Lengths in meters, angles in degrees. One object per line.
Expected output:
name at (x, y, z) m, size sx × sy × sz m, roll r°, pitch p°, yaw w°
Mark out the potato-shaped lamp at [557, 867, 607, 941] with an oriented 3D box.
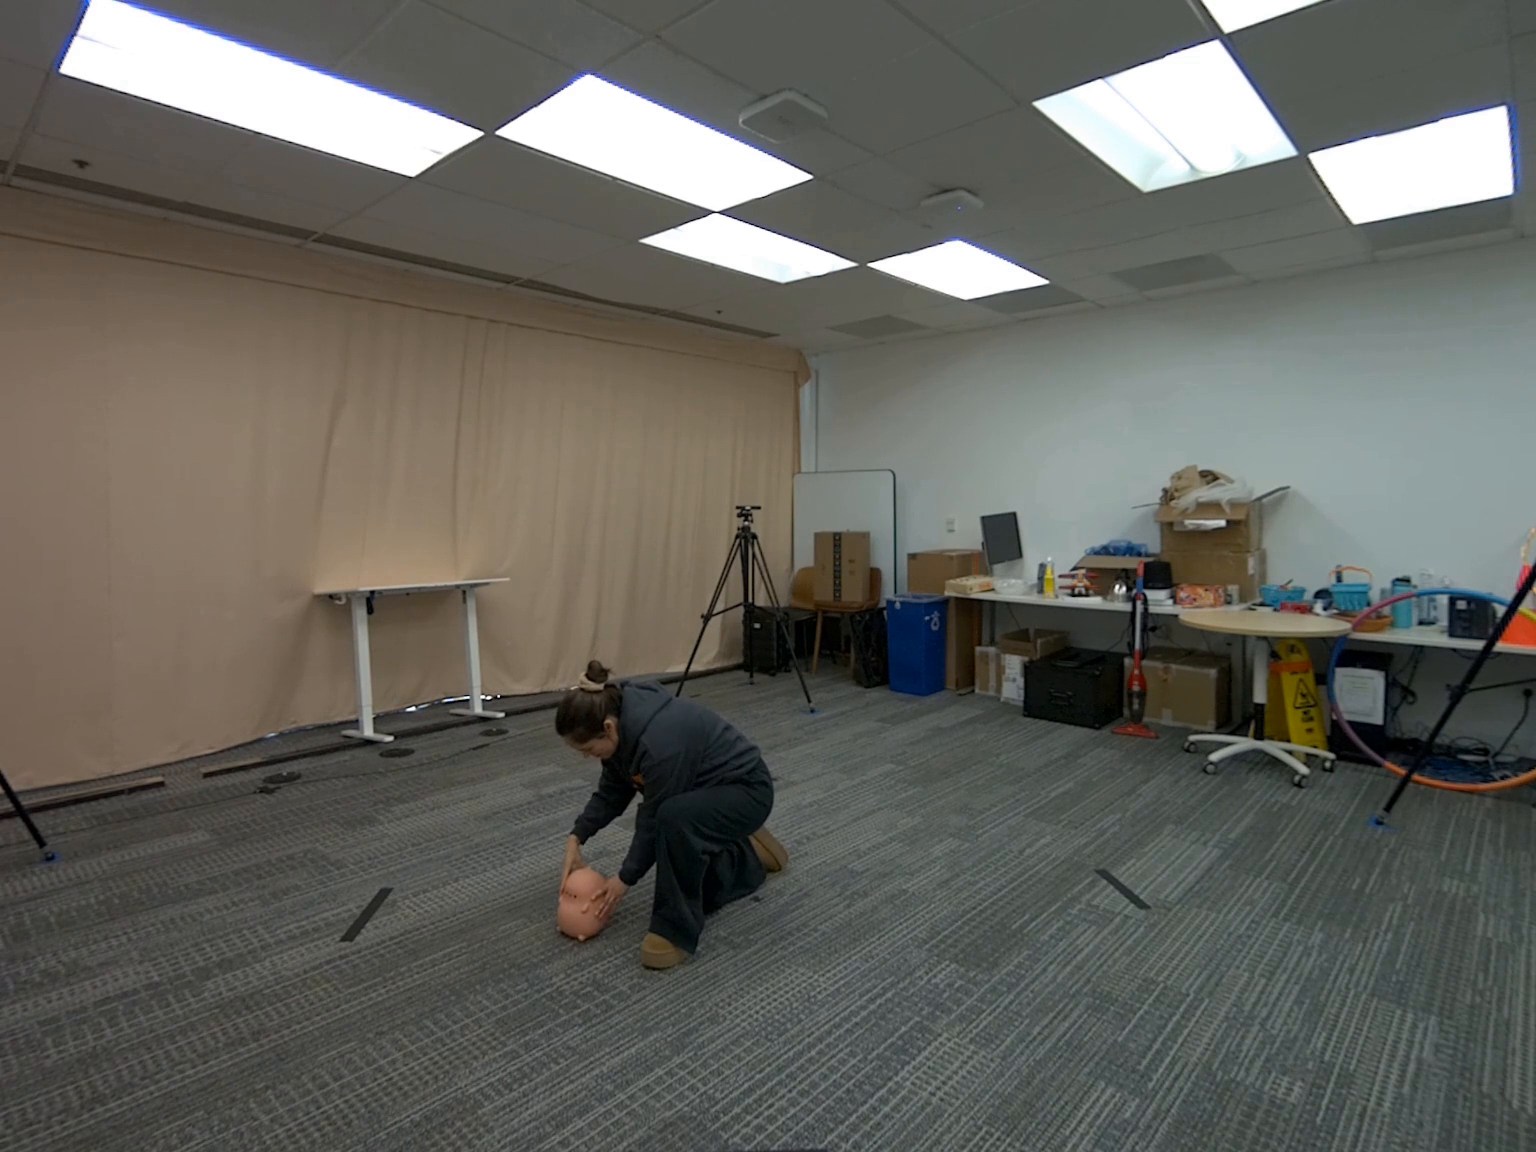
potato-shaped lamp at (-0.583, 1.076, 2.772) m, size 0.170 × 0.198 × 0.166 m, roll 1°, pitch 4°, yaw 40°
